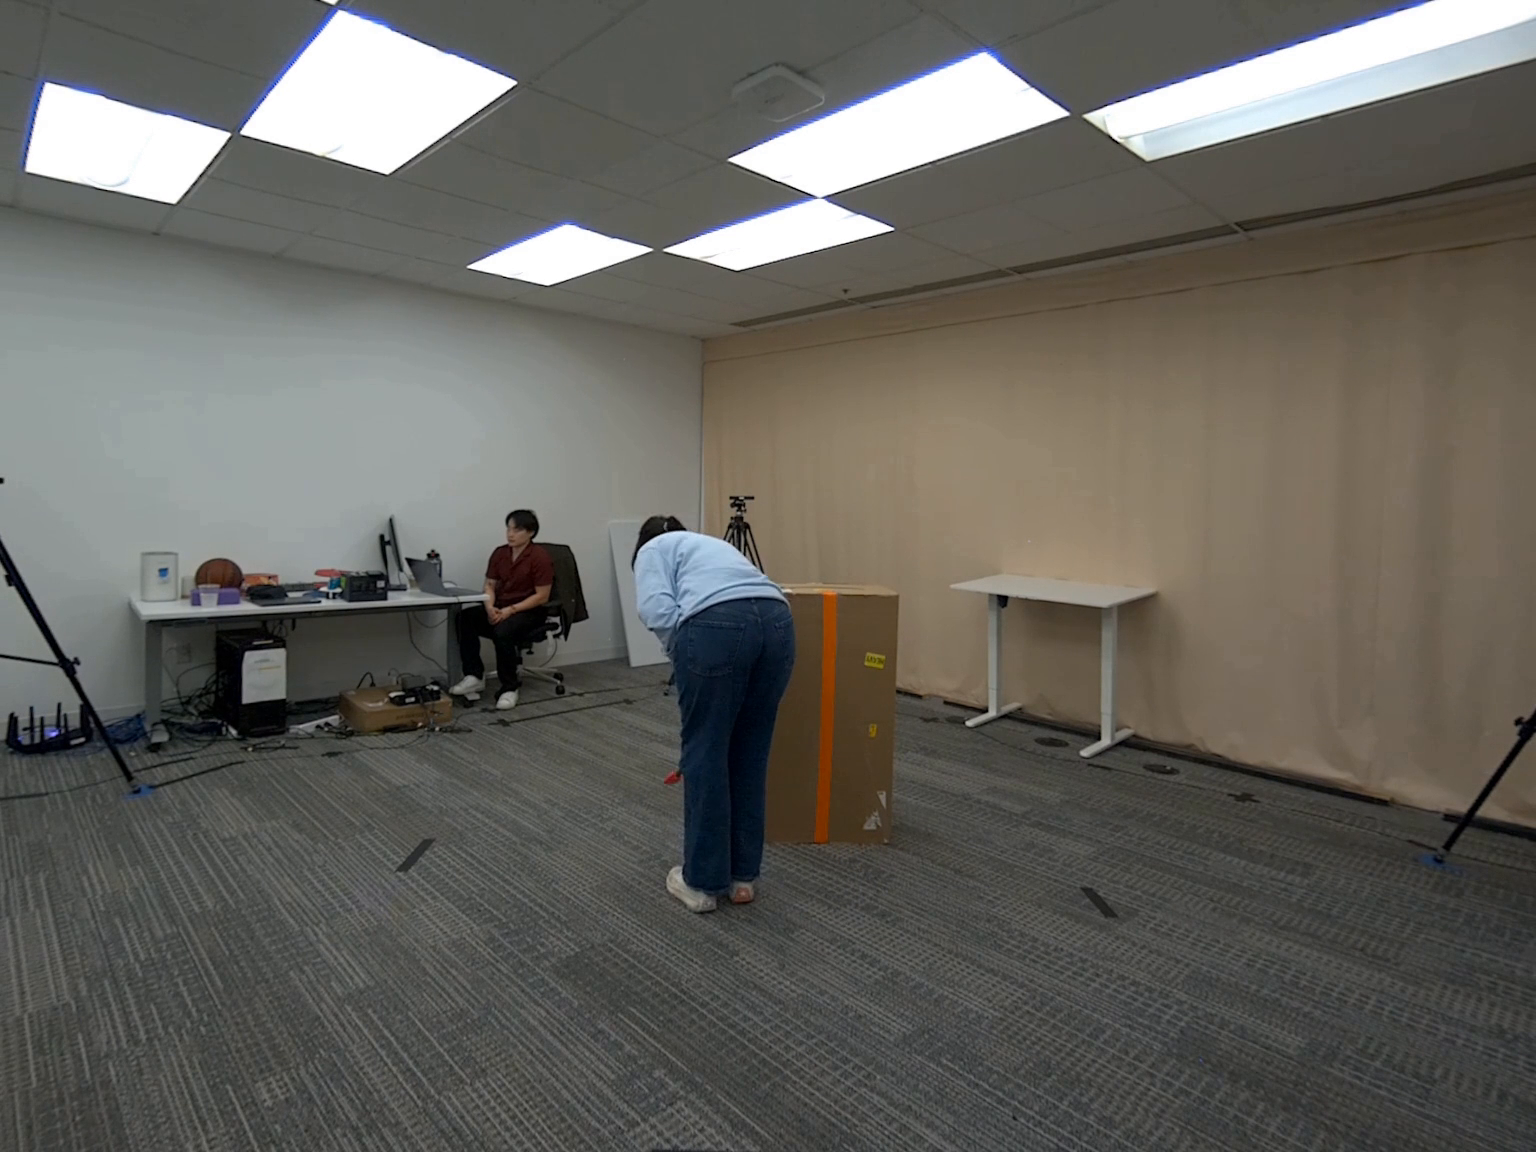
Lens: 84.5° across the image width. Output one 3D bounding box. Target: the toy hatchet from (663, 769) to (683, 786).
[{"bbox_3d":[-0.345,0.724,3.301,0.129,0.267,0.030,-13,50,-42],"label":"toy hatchet"}]
